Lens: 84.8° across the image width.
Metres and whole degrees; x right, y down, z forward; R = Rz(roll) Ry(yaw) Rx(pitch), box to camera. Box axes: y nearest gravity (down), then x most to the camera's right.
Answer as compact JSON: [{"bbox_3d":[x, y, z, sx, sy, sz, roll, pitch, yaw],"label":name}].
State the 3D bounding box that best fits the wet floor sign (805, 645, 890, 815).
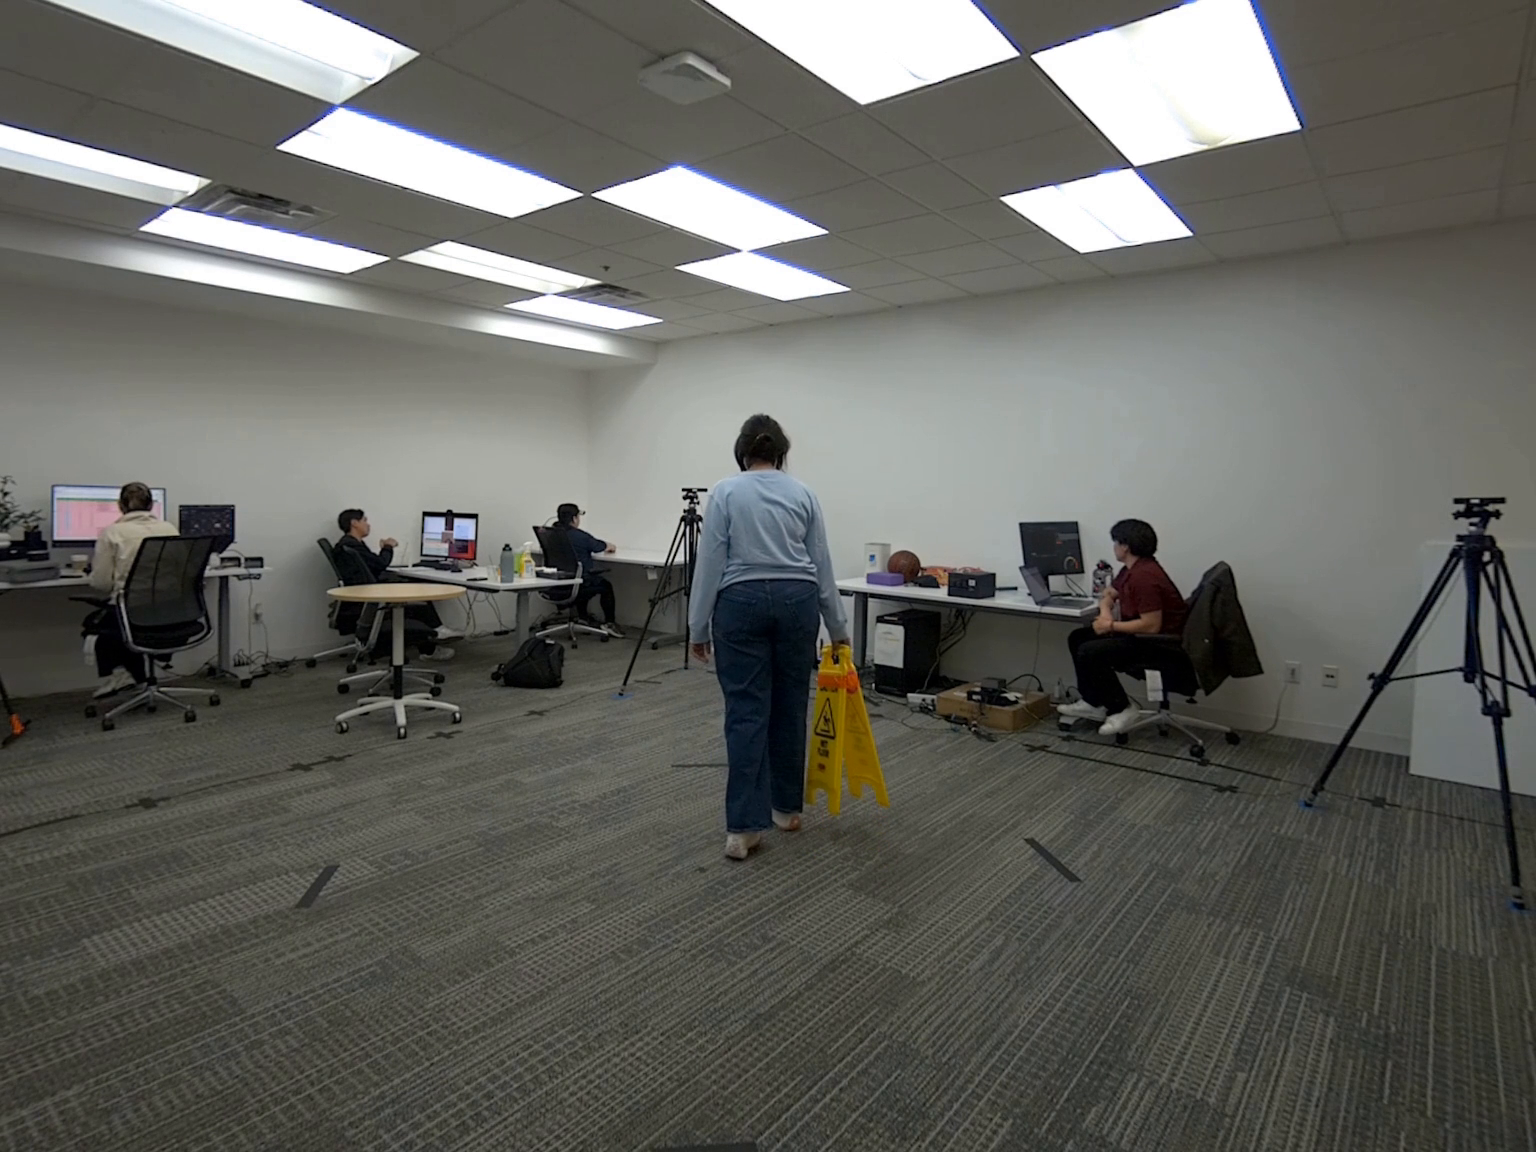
[{"bbox_3d":[0.289,0.617,3.528,0.283,0.649,0.288,-1,-4,-25],"label":"wet floor sign"}]
